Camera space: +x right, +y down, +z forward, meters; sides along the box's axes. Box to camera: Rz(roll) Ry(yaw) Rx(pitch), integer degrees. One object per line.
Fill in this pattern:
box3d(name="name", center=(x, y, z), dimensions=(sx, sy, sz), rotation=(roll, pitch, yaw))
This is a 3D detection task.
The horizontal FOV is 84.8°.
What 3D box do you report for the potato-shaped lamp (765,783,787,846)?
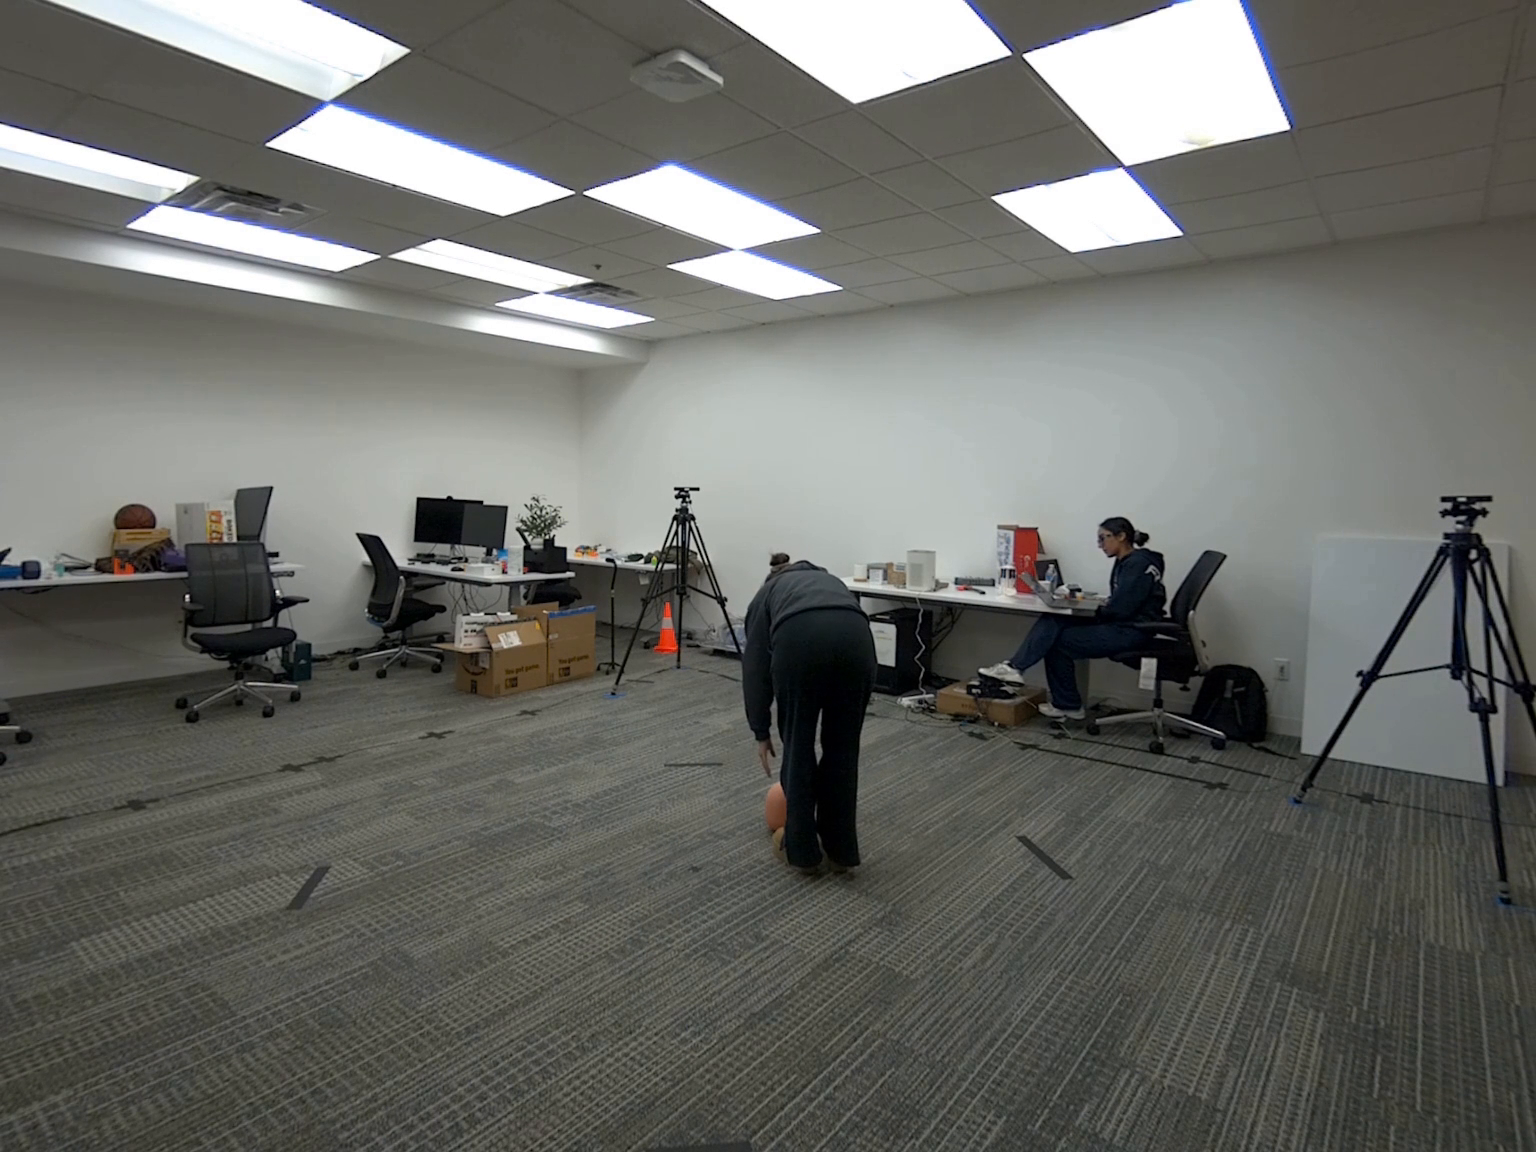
box3d(name="potato-shaped lamp", center=(0.067, 0.937, 3.483), dimensions=(0.170, 0.197, 0.166), rotation=(8, 7, 44))
